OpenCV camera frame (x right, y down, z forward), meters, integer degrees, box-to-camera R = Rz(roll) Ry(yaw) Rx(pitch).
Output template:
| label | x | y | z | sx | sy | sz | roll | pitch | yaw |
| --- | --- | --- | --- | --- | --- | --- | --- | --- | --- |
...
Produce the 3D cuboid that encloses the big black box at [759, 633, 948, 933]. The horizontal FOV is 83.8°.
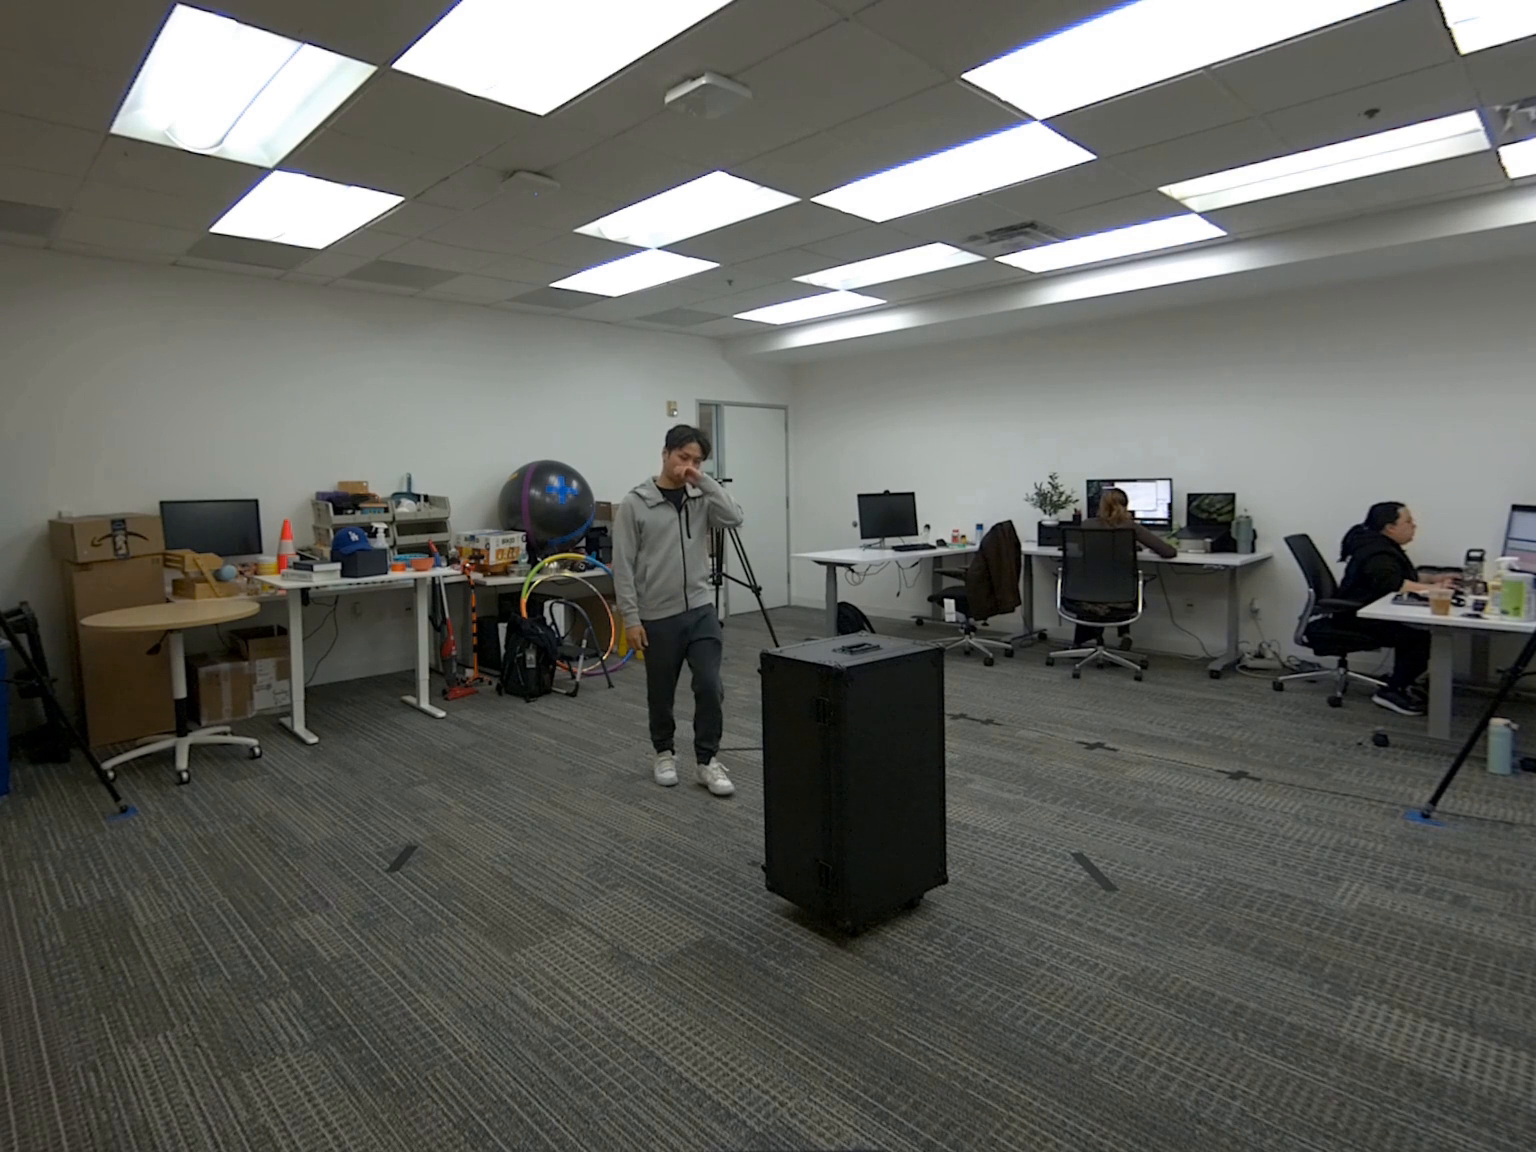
| label | x | y | z | sx | sy | sz | roll | pitch | yaw |
| --- | --- | --- | --- | --- | --- | --- | --- | --- | --- |
| big black box | 0.272 | 0.656 | 2.760 | 0.508 | 0.859 | 0.408 | -5 | 4 | -39 |
